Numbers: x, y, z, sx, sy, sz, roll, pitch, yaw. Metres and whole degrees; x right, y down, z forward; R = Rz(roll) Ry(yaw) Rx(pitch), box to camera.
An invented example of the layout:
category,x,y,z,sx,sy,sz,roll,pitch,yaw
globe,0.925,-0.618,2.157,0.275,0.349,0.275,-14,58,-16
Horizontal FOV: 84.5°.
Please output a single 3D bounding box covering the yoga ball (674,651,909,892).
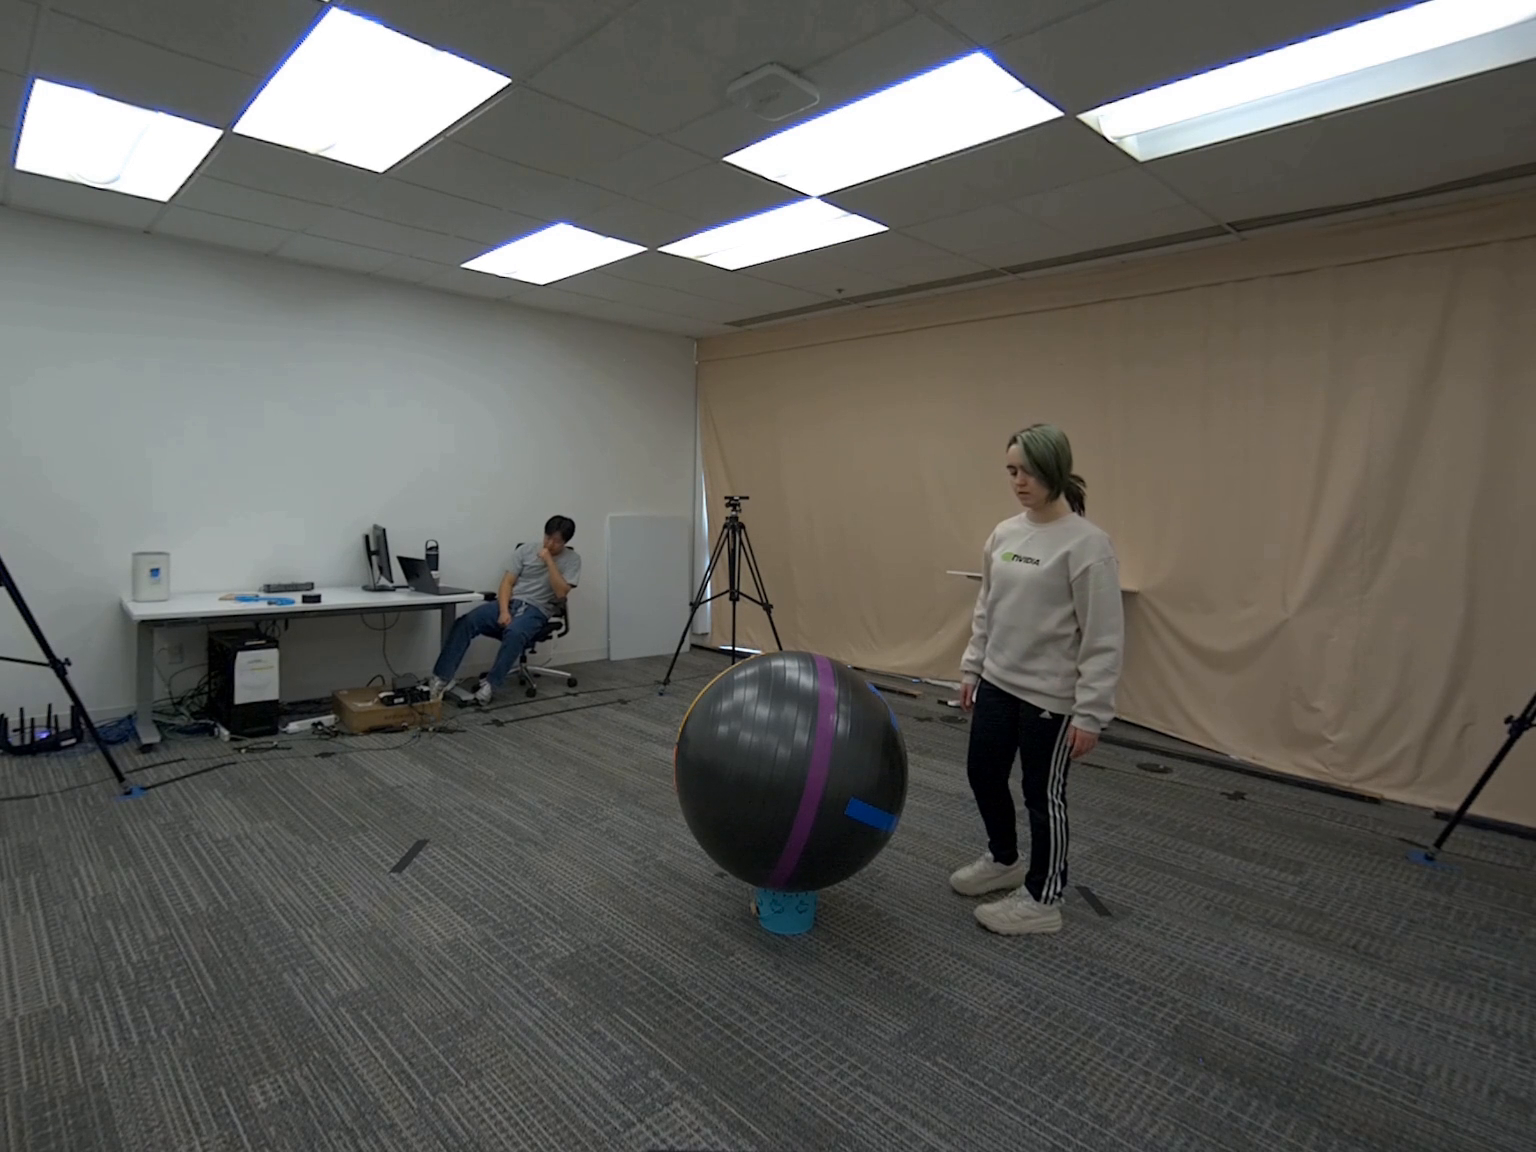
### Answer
category,x,y,z,sx,sy,sz,roll,pitch,yaw
yoga ball,0.066,0.628,2.751,0.757,0.756,0.761,1,4,-1
